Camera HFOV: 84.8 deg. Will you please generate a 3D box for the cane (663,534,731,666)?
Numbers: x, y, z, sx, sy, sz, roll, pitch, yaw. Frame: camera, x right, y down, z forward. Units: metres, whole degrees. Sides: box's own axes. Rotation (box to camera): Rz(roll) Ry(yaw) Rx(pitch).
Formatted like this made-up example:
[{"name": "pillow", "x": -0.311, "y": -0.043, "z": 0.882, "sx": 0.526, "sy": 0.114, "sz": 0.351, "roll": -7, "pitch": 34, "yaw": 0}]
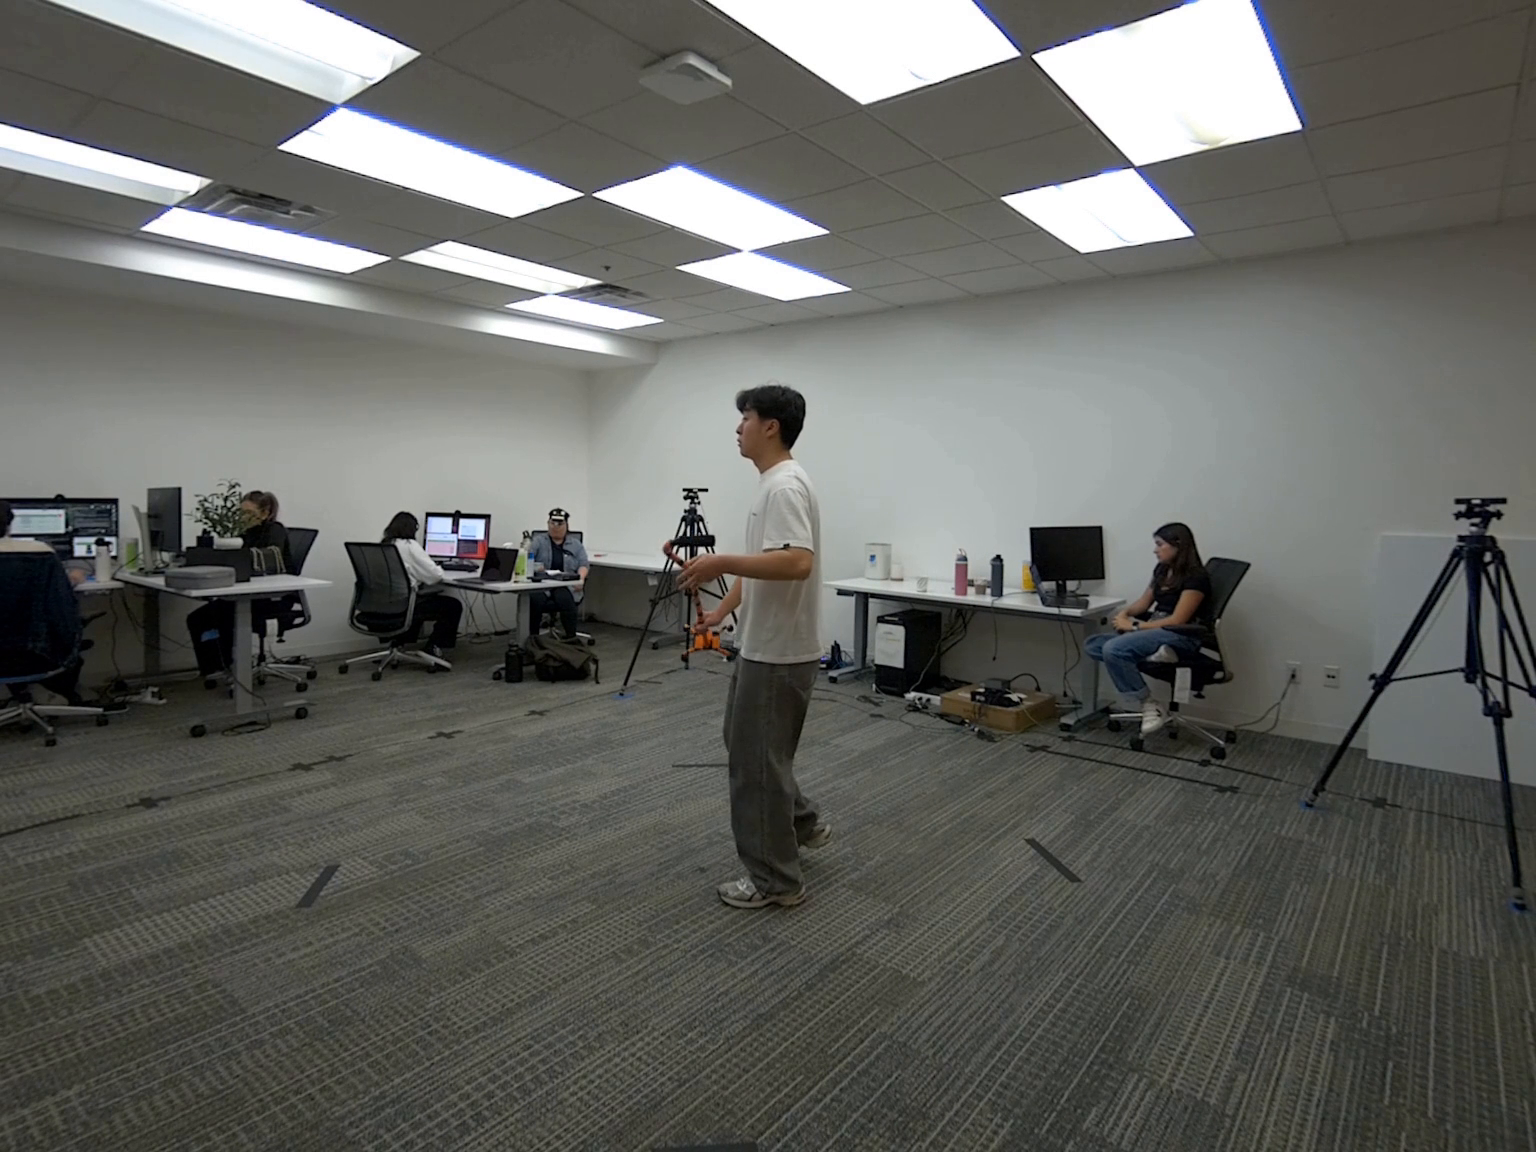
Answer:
[{"name": "cane", "x": -0.269, "y": 0.071, "z": 2.955, "sx": 0.207, "sy": 0.155, "sz": 0.883, "roll": 1, "pitch": -27, "yaw": 3}]
